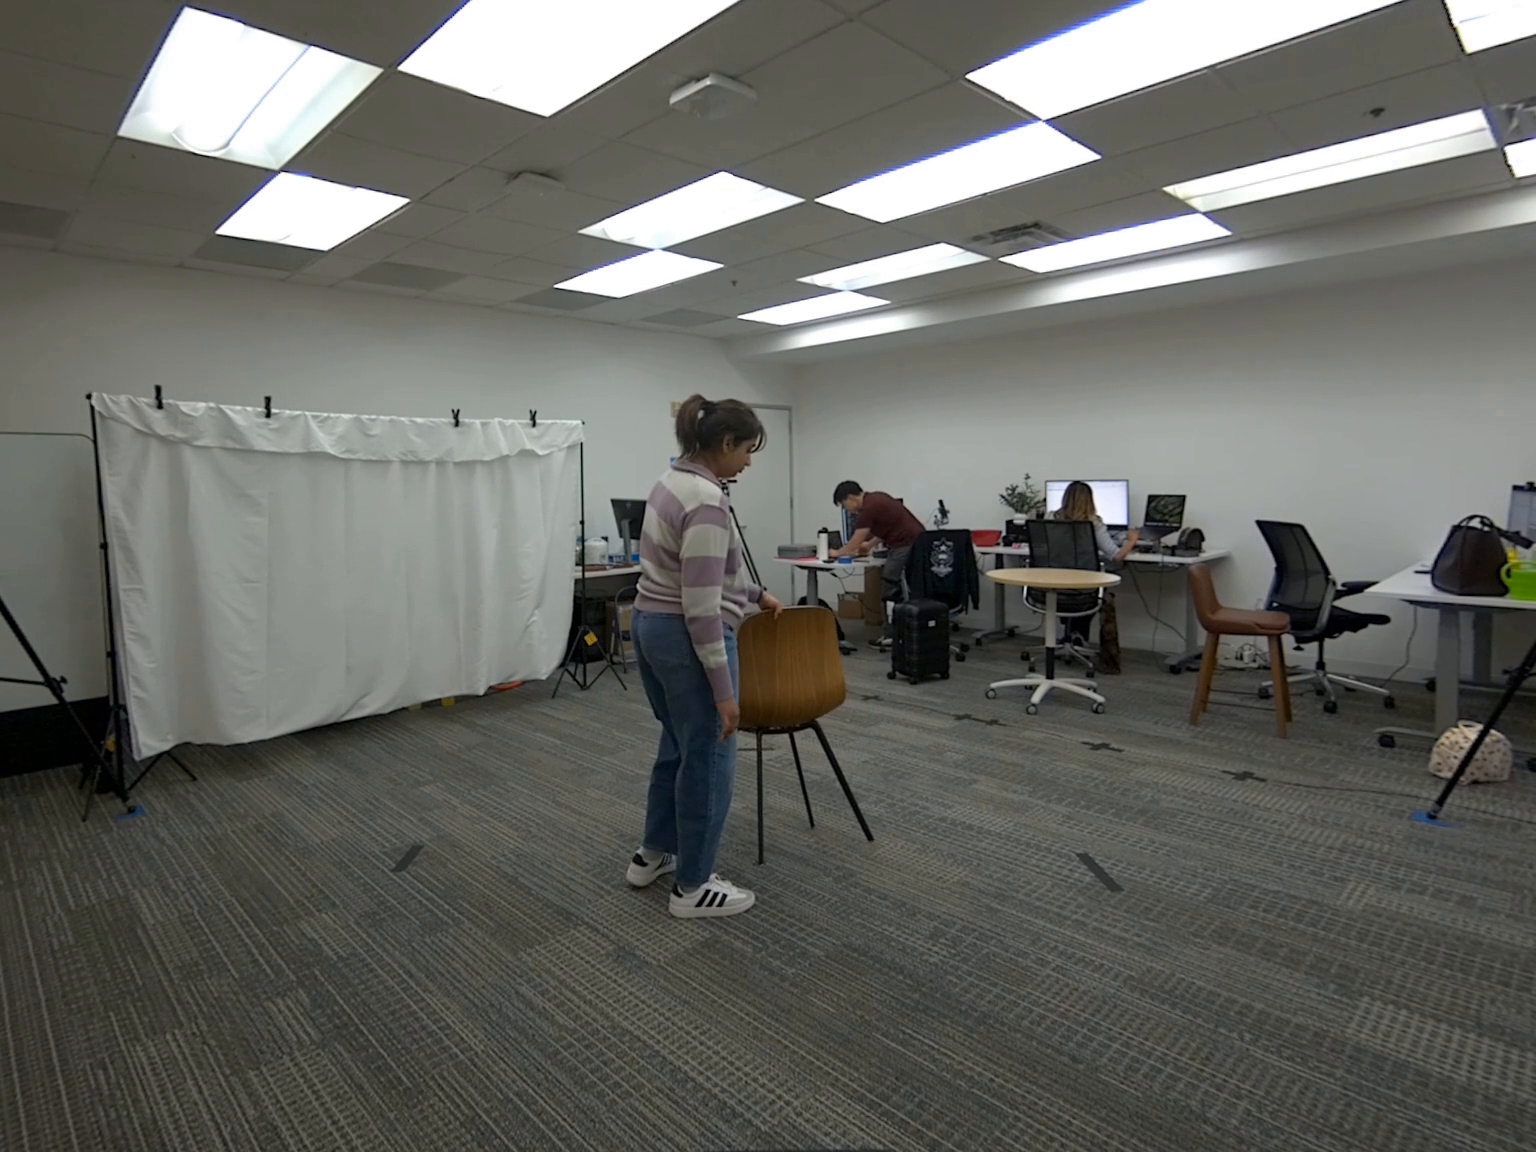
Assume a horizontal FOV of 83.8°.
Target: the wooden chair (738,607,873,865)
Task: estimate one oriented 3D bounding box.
[{"bbox_3d":[0.026,0.569,3.219,0.468,0.882,0.531,-3,-5,-25],"label":"wooden chair"}]
